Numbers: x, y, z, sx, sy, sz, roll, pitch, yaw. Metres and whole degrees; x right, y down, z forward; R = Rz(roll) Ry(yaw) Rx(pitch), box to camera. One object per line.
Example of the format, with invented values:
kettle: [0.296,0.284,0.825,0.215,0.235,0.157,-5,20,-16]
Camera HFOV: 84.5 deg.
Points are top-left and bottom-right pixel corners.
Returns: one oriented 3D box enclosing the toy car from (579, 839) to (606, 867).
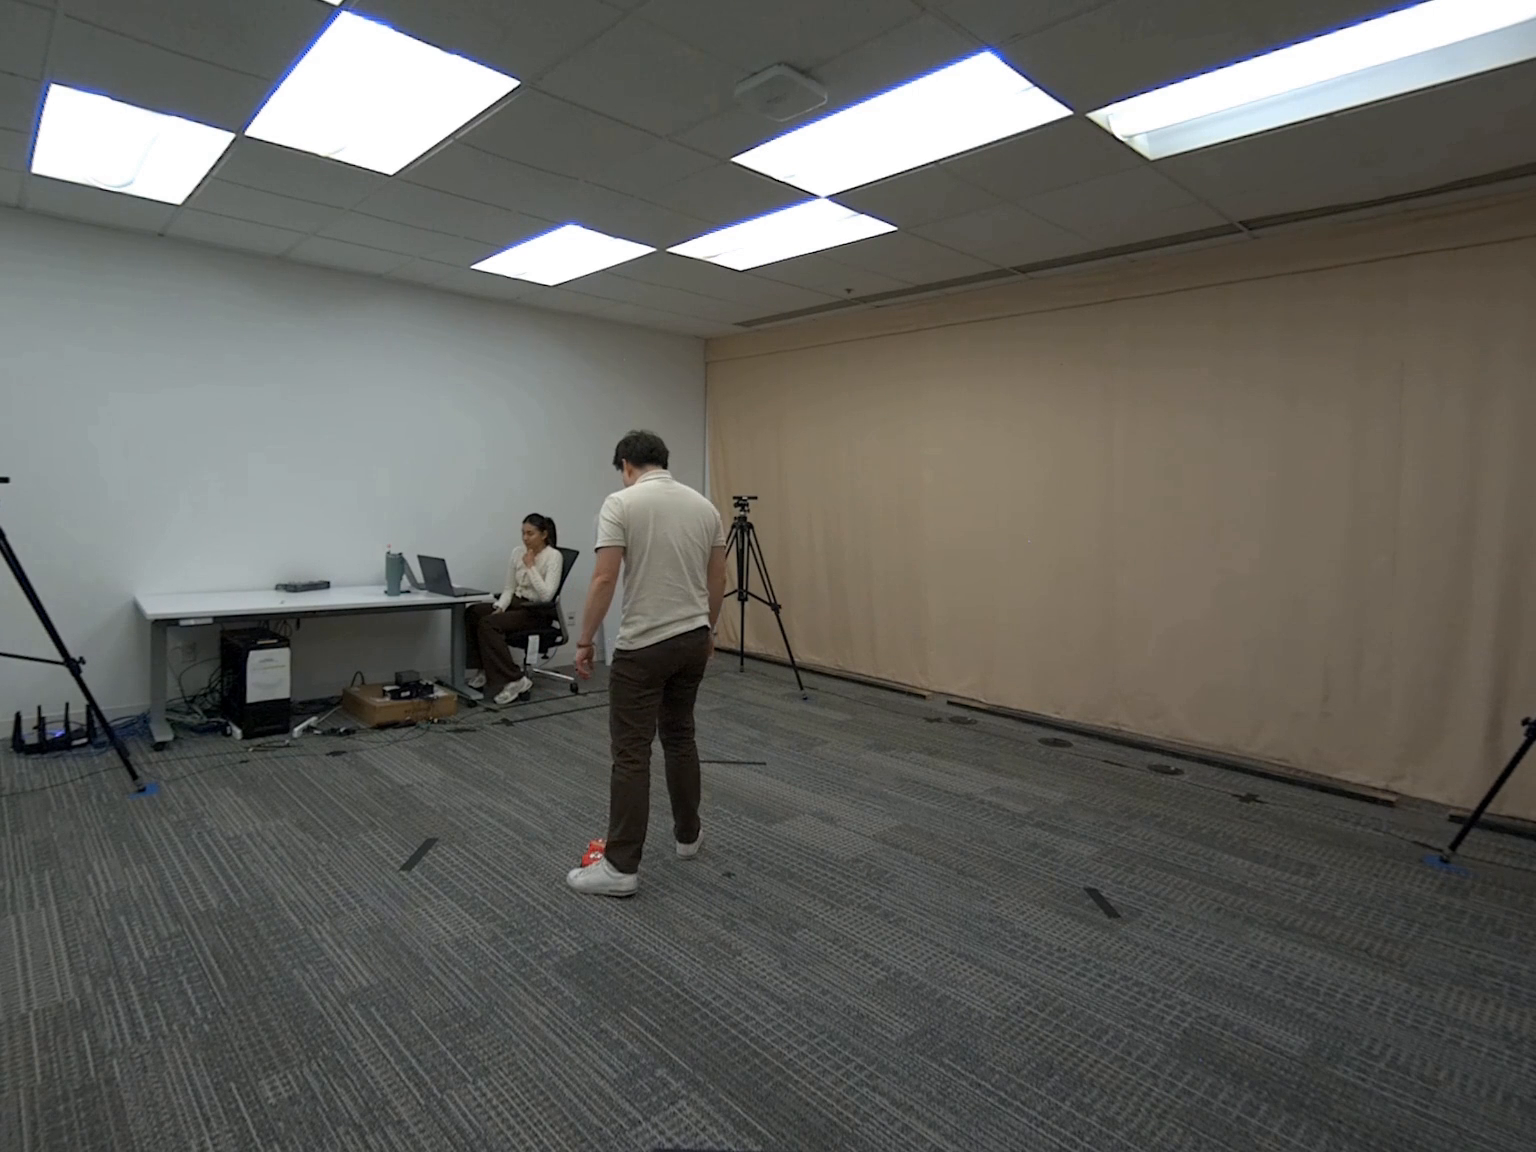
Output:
toy car: [-0.642,1.057,3.163,0.130,0.083,0.253,1,-6,-1]
